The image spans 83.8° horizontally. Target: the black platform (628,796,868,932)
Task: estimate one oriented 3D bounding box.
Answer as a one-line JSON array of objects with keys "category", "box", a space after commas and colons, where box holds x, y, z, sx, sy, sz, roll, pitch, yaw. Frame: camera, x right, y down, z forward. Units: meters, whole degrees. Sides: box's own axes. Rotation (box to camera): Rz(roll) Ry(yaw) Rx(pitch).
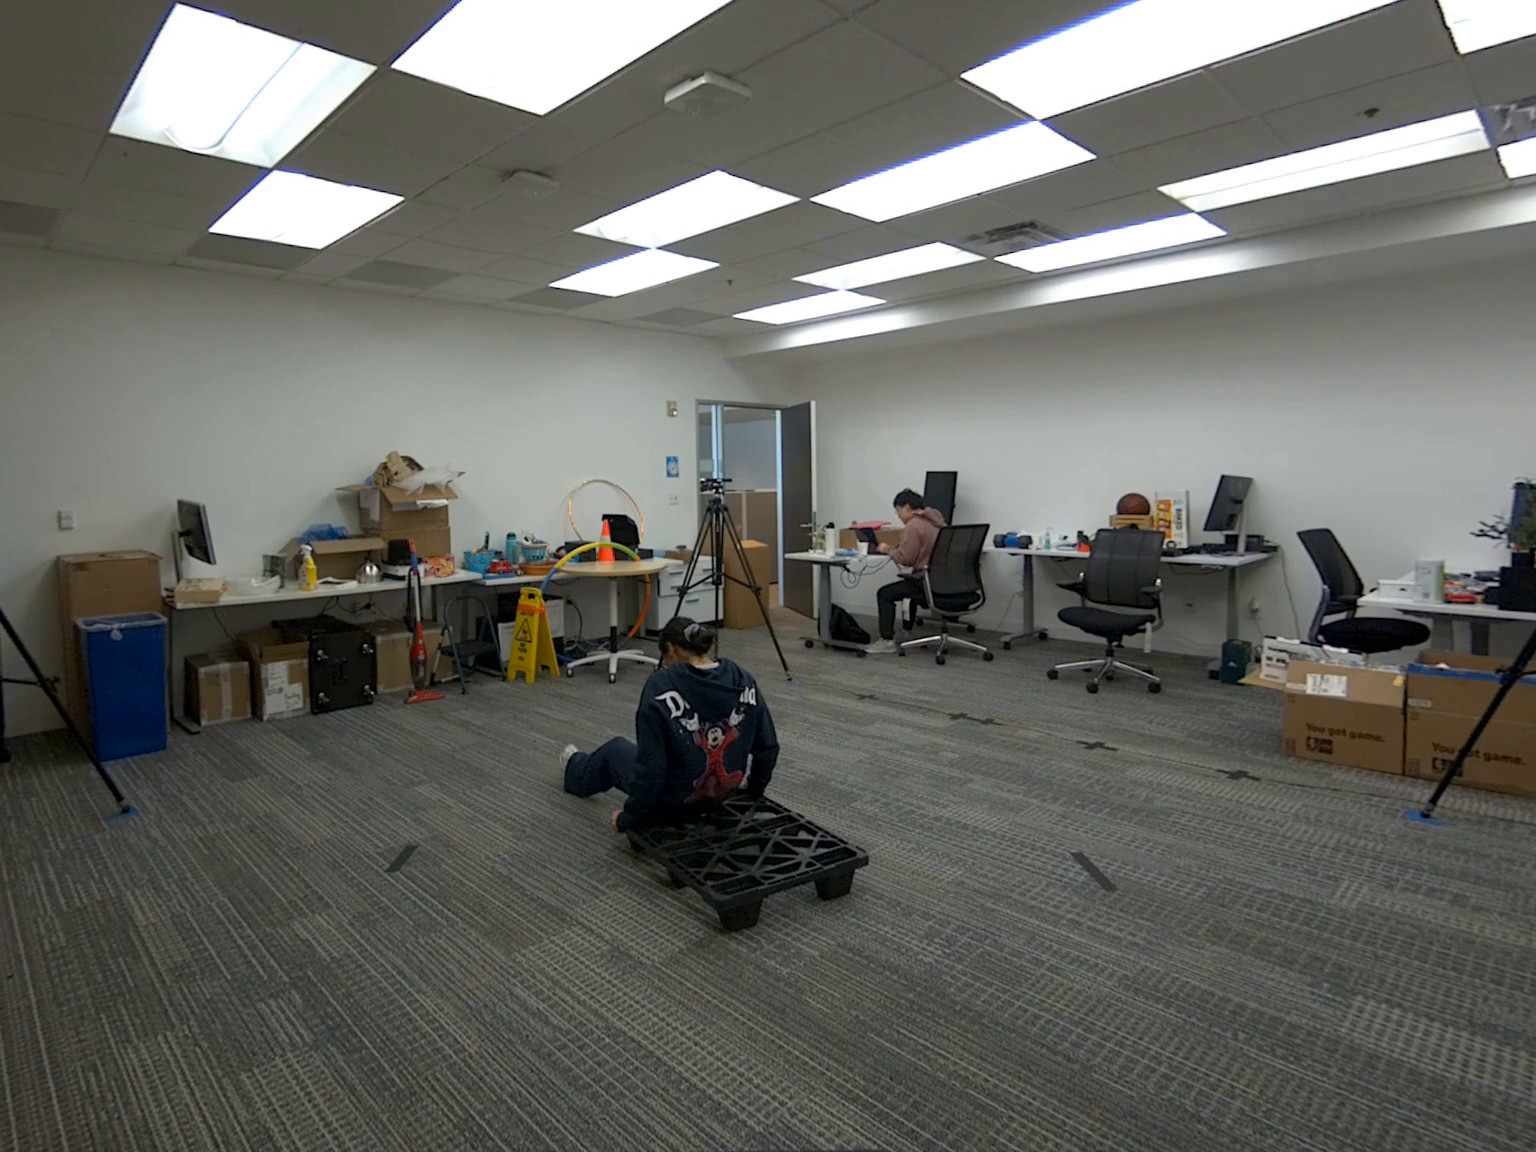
[{"category": "black platform", "box": [-0.118, 0.988, 3.048, 0.591, 0.143, 0.828, -5, 7, -31]}]
